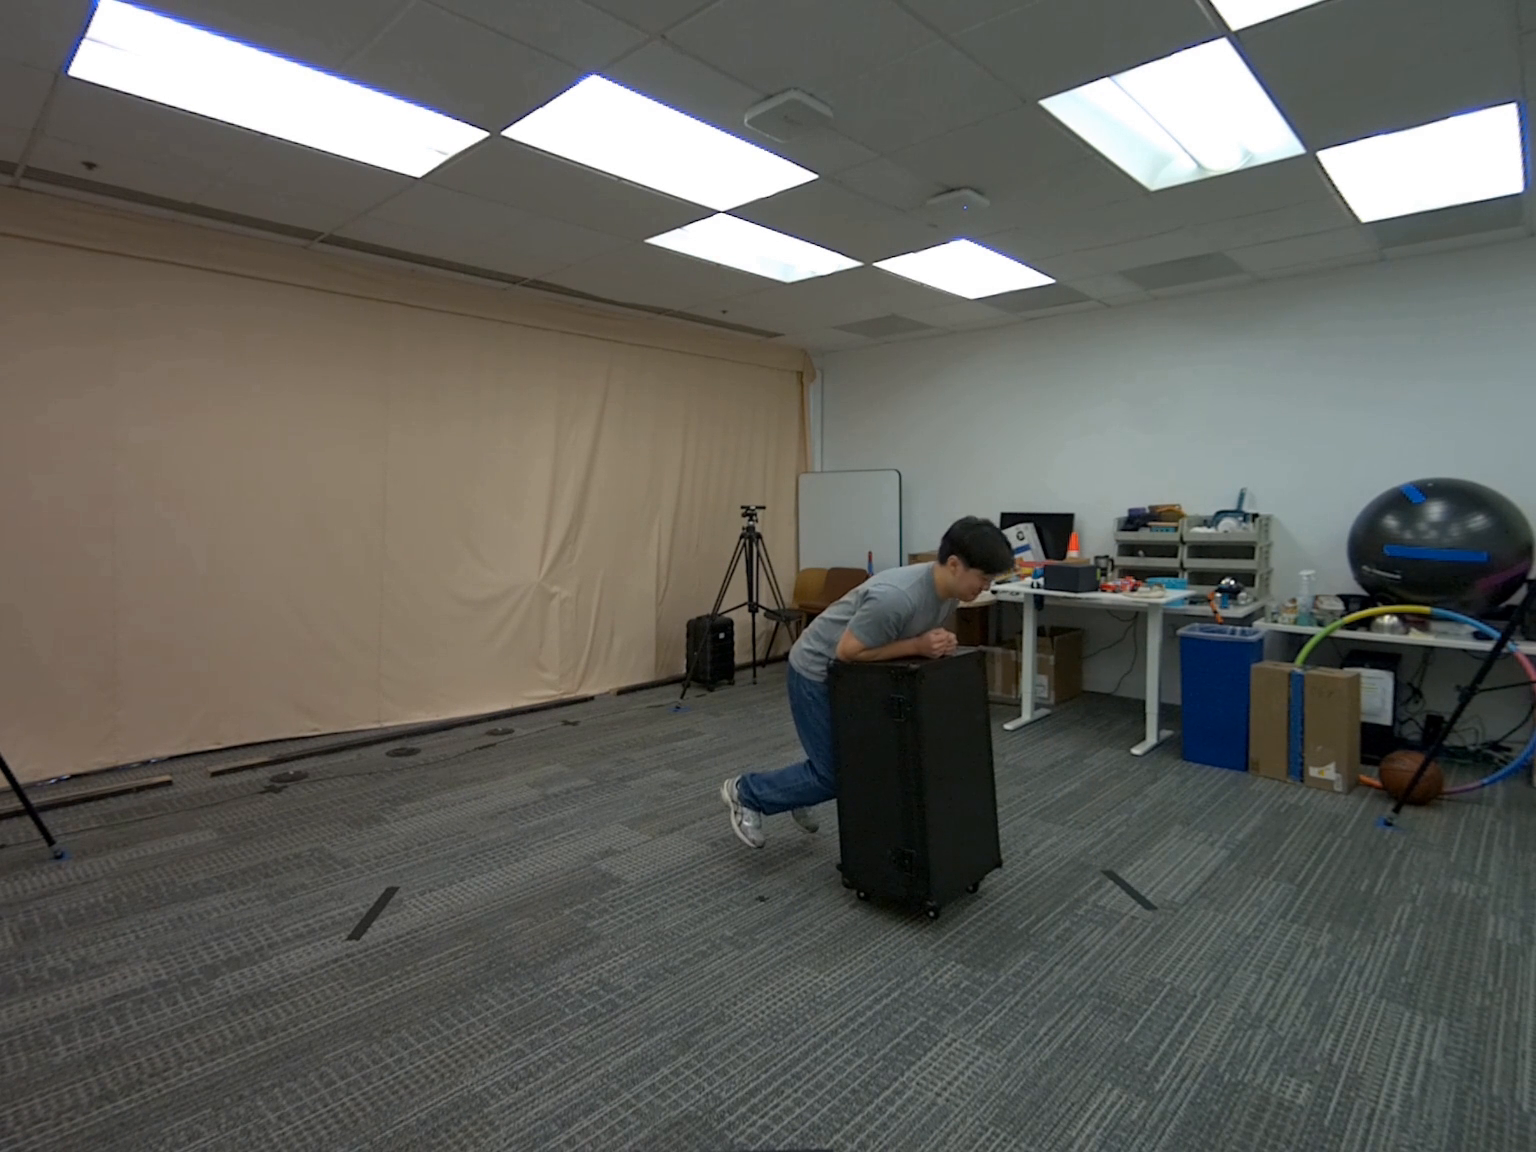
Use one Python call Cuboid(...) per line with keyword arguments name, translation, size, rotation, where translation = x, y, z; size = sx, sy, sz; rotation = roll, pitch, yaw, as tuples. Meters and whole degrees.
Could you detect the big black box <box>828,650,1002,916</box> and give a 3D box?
Cuboid(name="big black box", translation=(0.521, 0.705, 2.977), size=(0.408, 0.862, 0.505), rotation=(-5, 0, 43))
